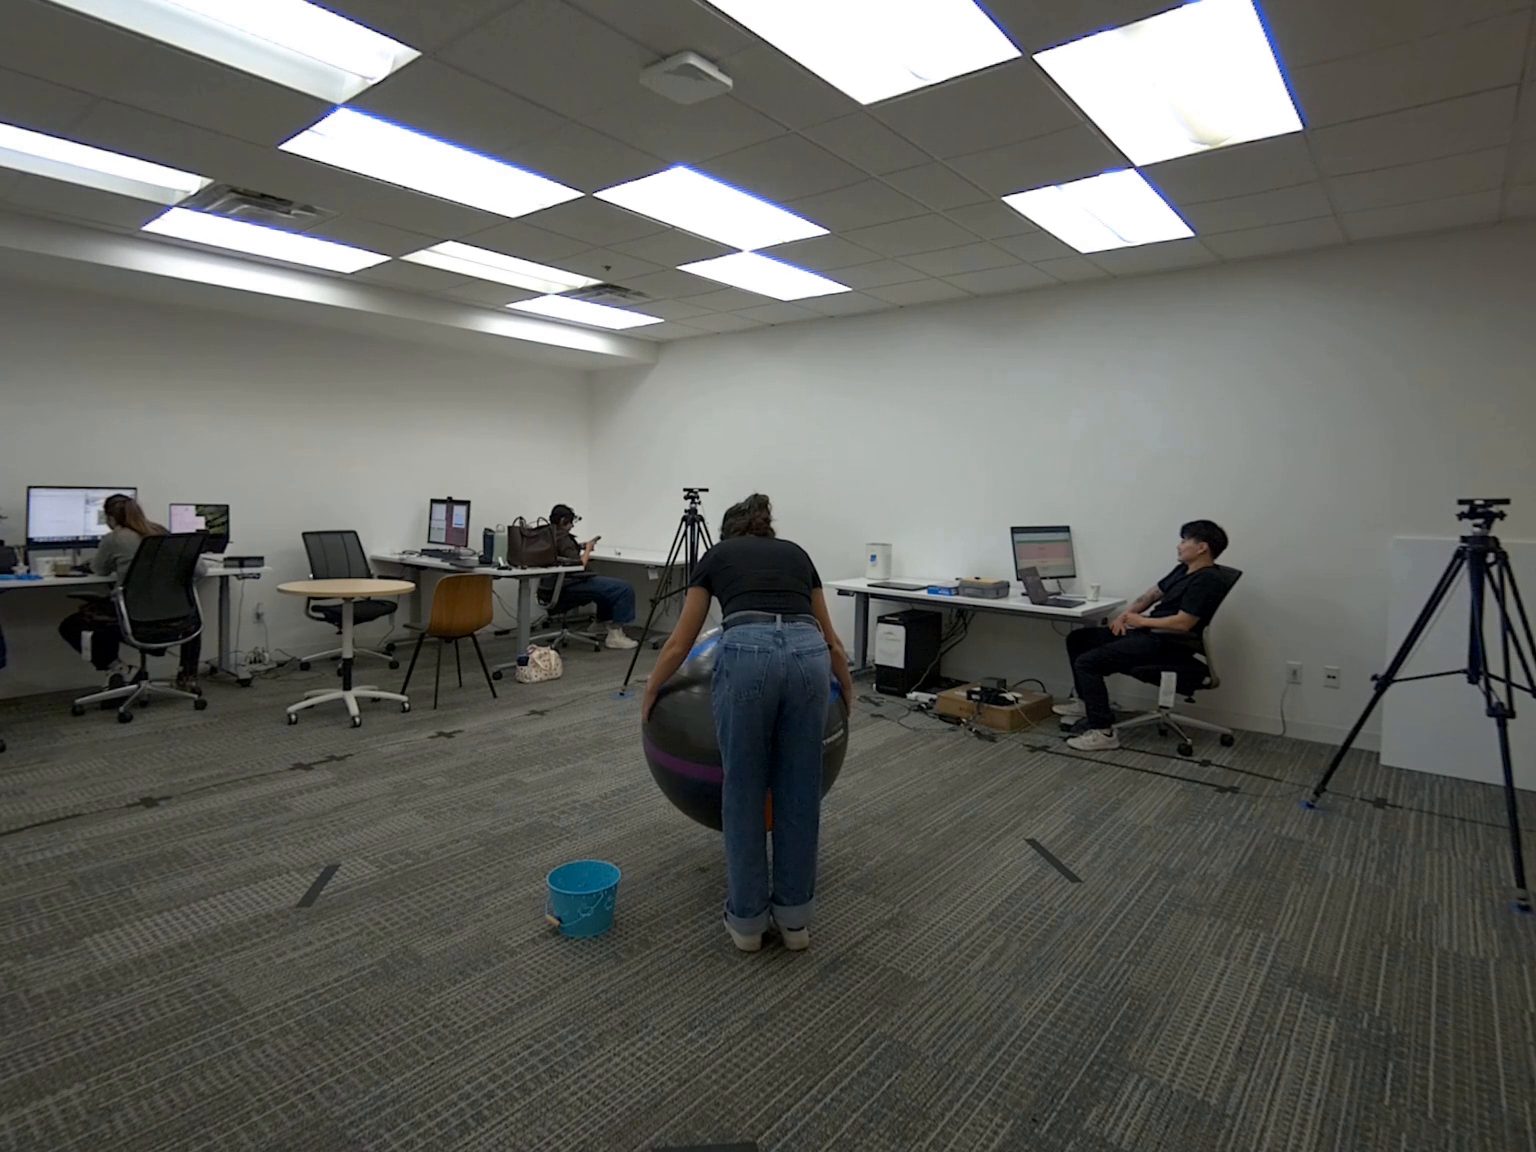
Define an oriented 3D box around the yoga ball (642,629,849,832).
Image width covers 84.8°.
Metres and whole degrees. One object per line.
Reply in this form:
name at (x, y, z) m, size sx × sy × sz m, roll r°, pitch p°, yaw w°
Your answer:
yoga ball at (-0.084, 0.549, 3.107) m, size 0.757 × 0.755 × 0.762 m, roll 1°, pitch 4°, yaw -2°
